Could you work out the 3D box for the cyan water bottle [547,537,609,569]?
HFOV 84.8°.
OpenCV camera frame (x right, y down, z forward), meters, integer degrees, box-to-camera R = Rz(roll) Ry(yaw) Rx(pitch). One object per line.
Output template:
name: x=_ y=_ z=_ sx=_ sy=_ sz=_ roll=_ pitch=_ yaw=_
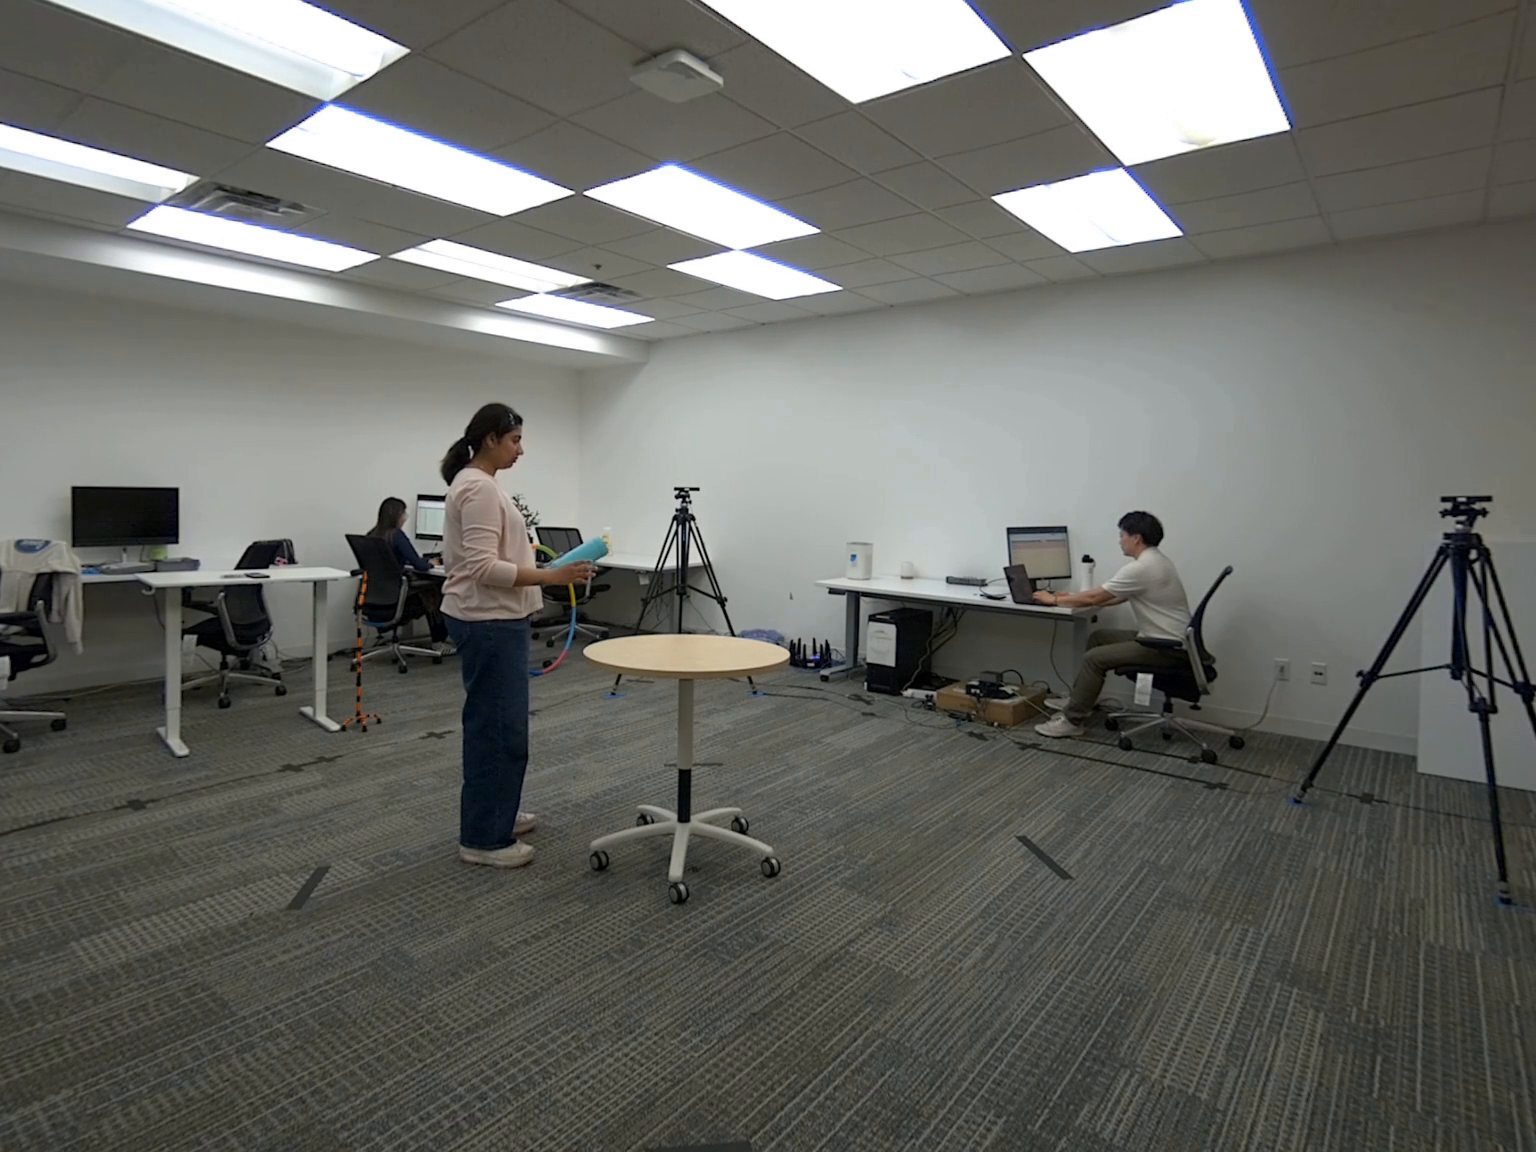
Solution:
cyan water bottle: x=-0.797 y=-0.076 z=3.440 sx=0.281 sy=0.091 sz=0.094 roll=-33 pitch=15 yaw=-17
